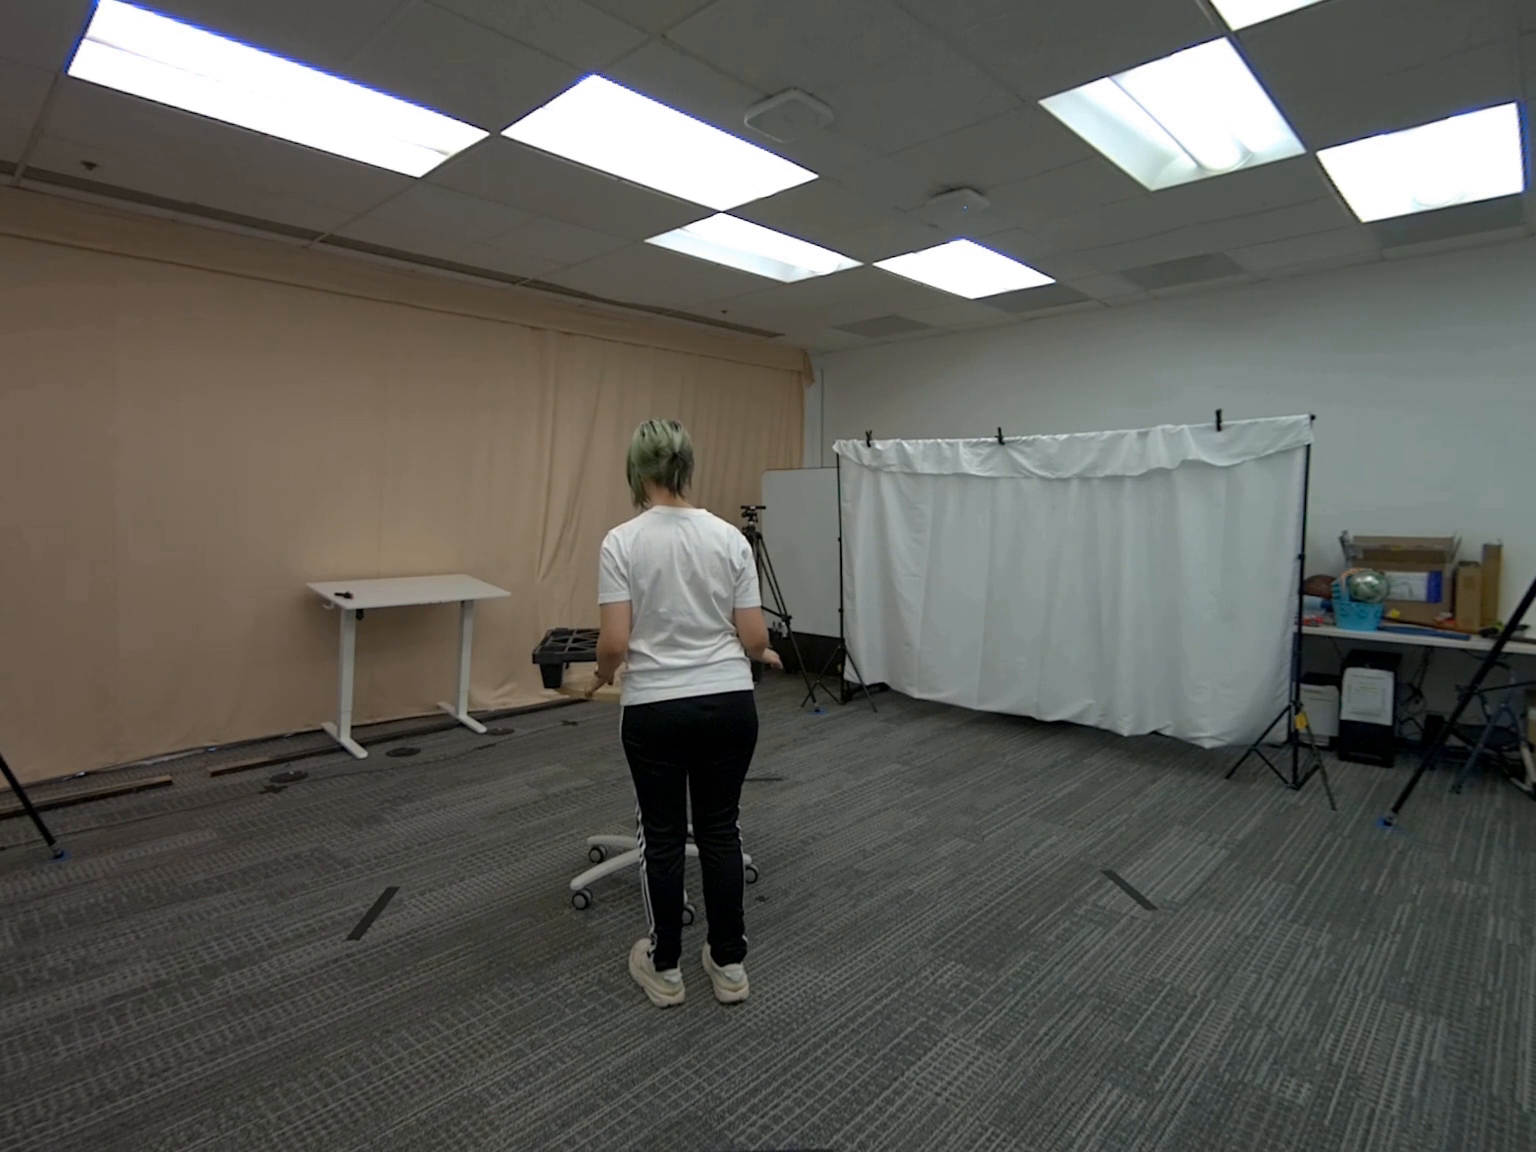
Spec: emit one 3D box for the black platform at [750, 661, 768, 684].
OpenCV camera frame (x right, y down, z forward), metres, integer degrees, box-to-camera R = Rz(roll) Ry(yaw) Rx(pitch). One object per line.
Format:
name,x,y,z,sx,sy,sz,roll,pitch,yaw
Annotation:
black platform,-0.416,0.290,3.066,0.800,0.143,0.611,-1,4,-7
